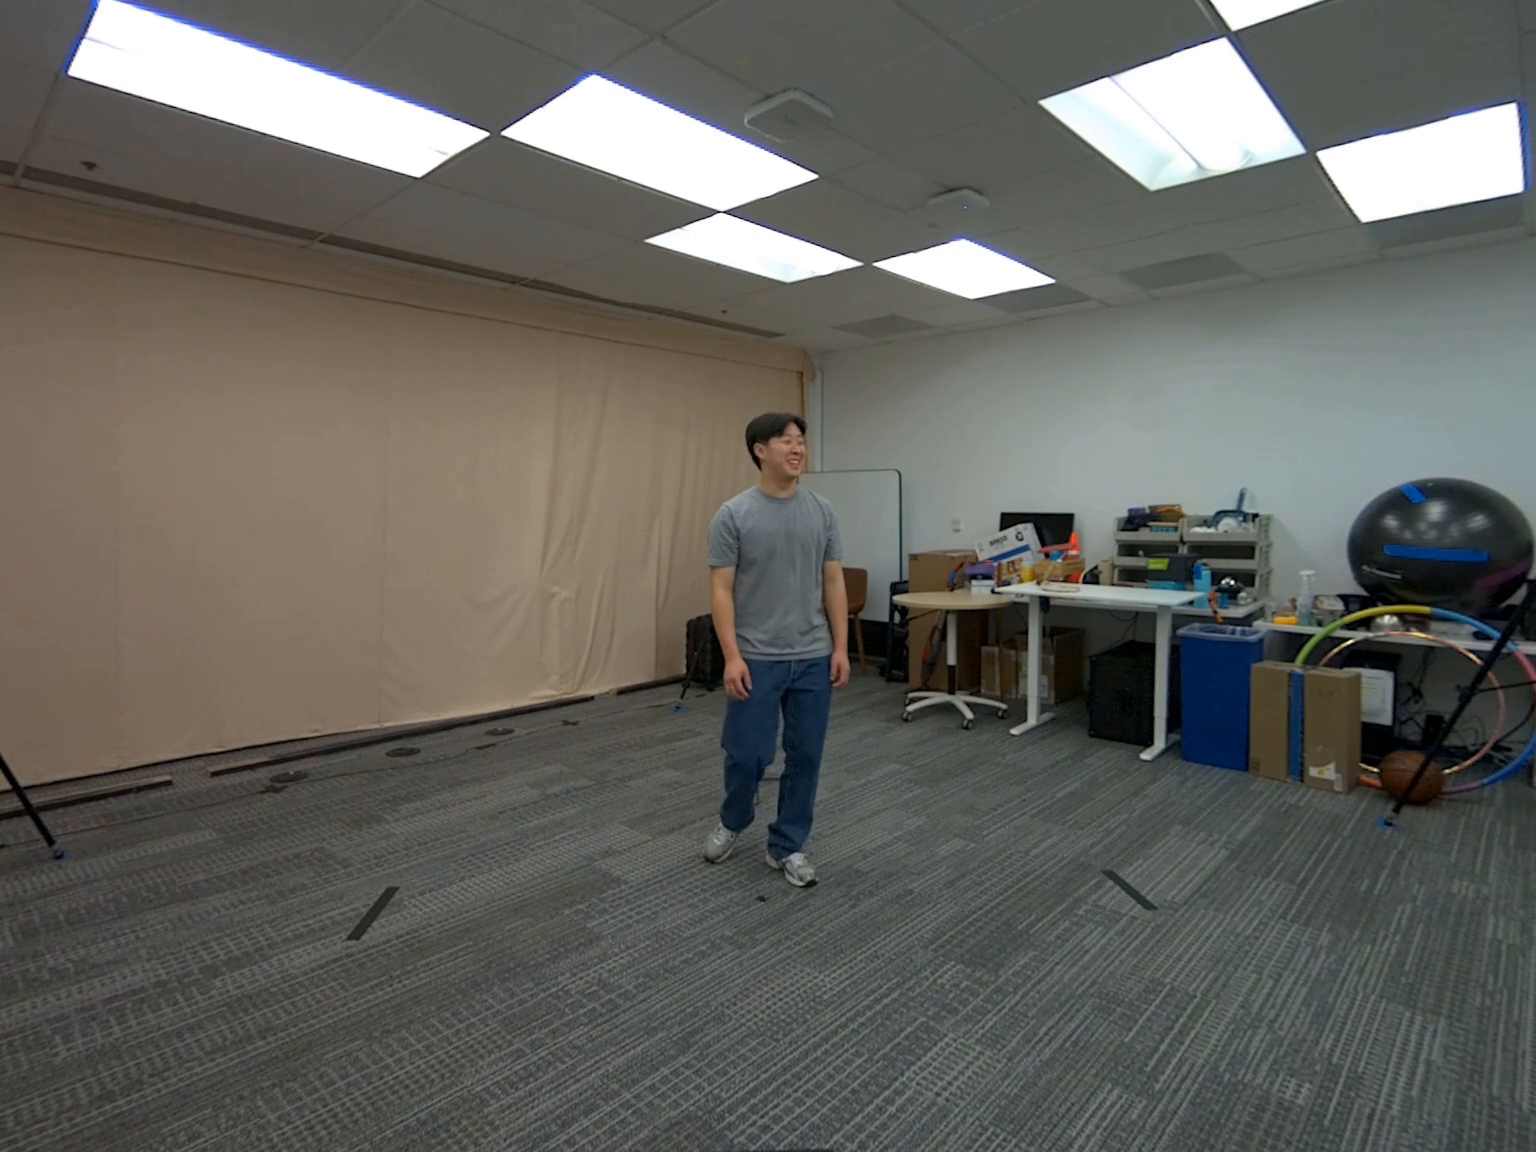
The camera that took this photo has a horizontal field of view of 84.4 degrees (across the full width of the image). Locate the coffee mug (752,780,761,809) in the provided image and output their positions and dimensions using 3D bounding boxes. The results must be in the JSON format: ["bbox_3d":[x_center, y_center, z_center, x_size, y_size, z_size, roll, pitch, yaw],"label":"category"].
[{"bbox_3d":[-0.094,0.964,3.954,0.126,0.202,0.085,4,6,32],"label":"coffee mug"}]
